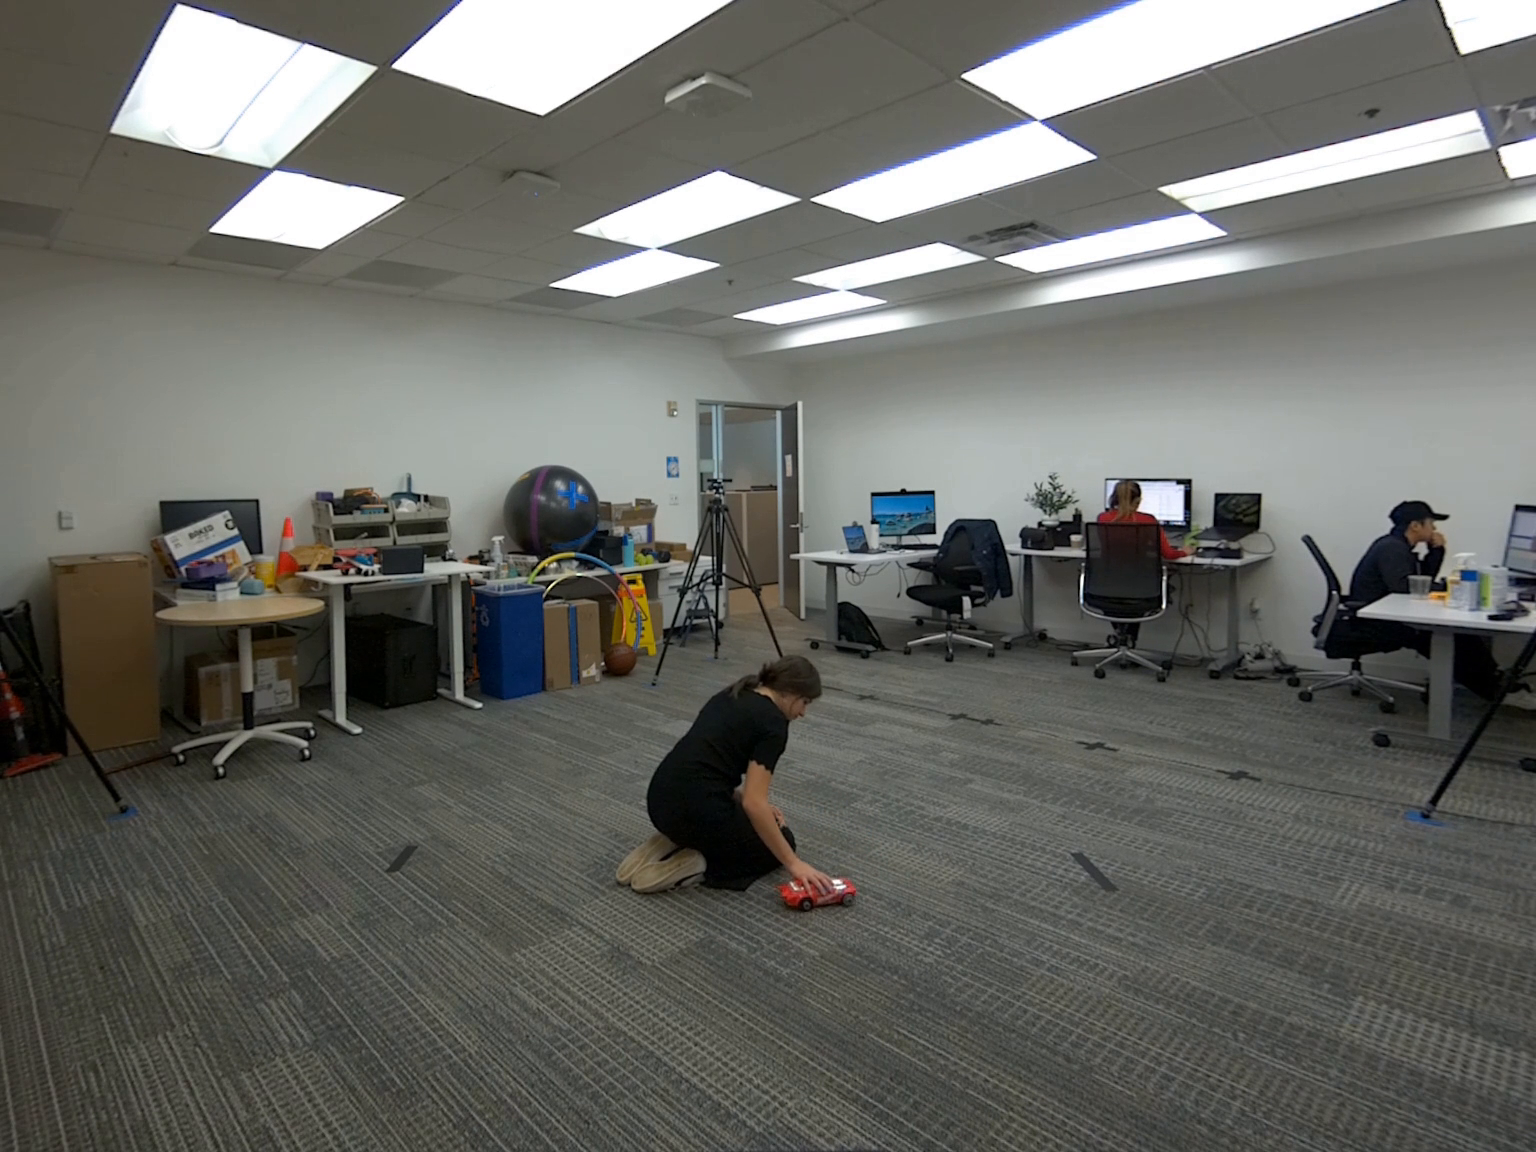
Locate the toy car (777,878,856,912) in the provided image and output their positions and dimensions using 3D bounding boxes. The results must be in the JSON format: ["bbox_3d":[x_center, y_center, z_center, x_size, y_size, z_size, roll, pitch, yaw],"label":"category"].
[{"bbox_3d":[0.158,1.041,2.811,0.251,0.083,0.132,10,2,-11],"label":"toy car"}]
